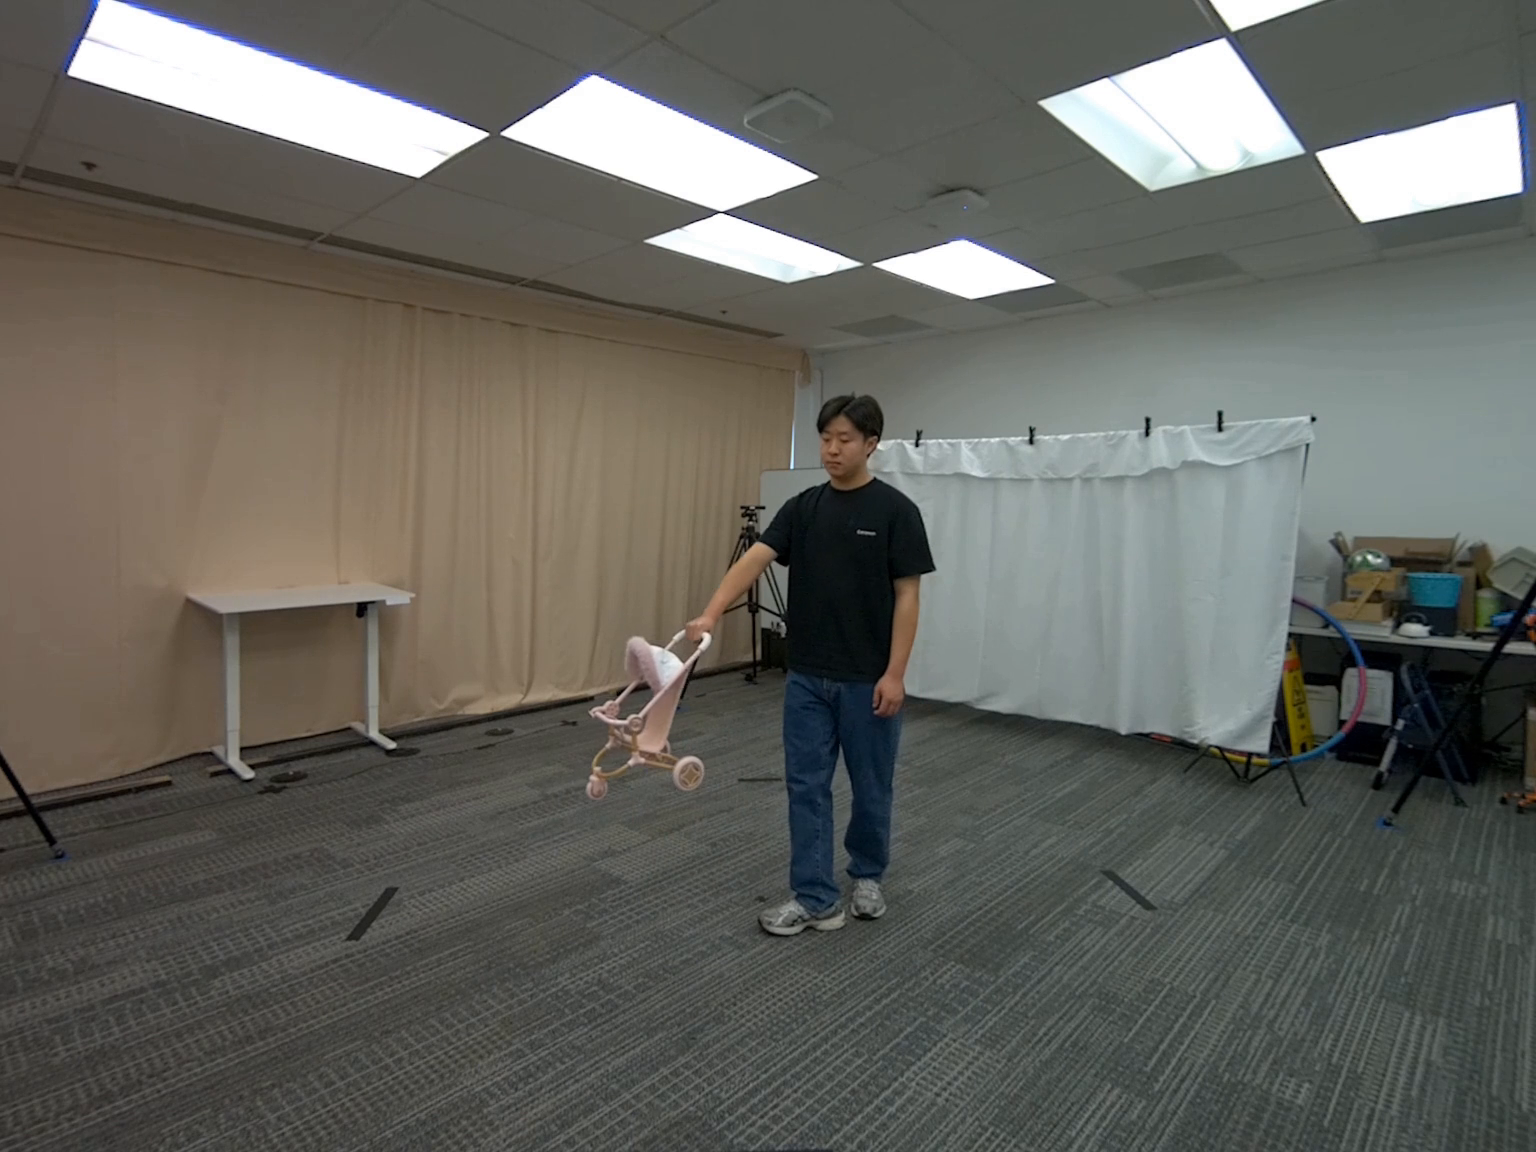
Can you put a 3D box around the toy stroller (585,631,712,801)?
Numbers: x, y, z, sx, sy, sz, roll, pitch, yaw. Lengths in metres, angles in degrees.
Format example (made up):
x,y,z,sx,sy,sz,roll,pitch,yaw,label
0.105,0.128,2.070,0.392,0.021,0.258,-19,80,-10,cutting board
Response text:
x,y,z,sx,sy,sz,roll,pitch,yaw,label
-0.384,0.432,2.616,0.332,0.535,0.289,6,1,-26,toy stroller
